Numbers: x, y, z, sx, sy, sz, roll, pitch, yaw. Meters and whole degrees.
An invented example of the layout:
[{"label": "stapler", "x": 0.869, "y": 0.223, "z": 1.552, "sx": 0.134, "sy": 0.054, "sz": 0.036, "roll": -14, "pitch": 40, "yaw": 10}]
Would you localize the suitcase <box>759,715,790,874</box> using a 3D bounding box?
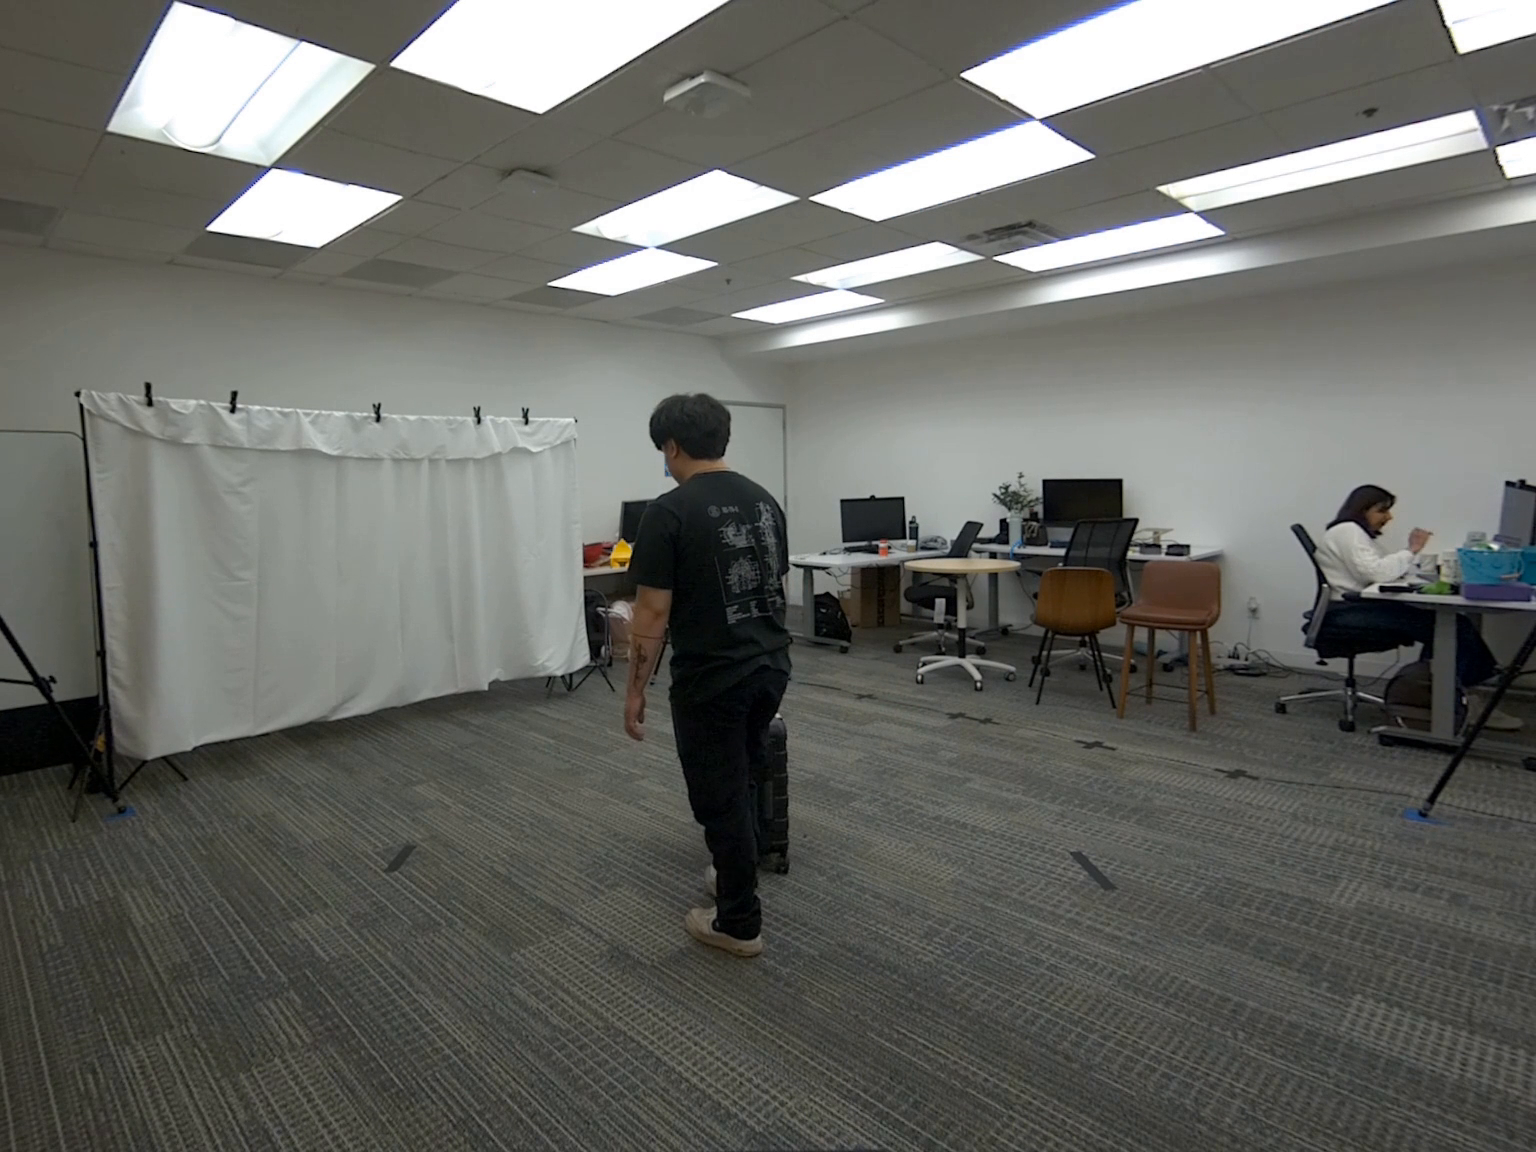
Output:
[{"label": "suitcase", "x": -0.061, "y": 0.760, "z": 3.171, "sx": 0.247, "sy": 0.548, "sz": 0.379, "roll": 0, "pitch": 4, "yaw": -7}]
